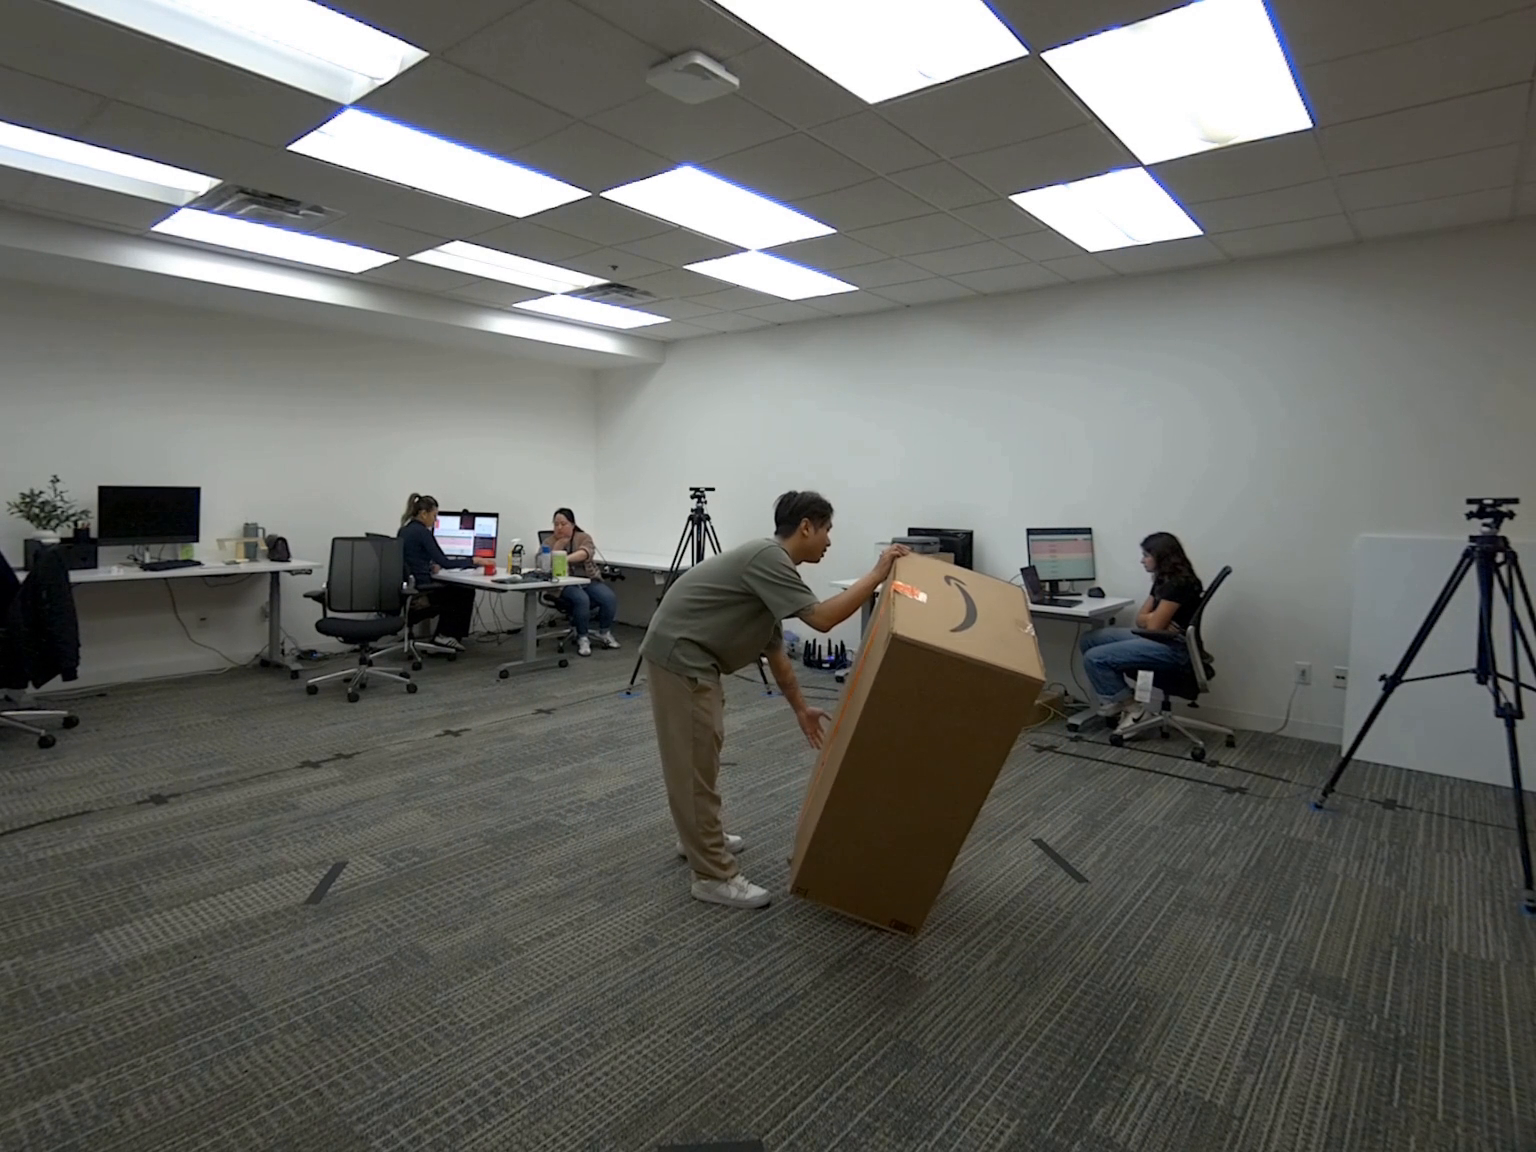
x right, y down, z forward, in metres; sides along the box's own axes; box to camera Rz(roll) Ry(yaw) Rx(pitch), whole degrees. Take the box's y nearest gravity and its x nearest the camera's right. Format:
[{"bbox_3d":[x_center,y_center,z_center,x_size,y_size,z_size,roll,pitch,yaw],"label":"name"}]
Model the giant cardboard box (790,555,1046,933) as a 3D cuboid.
[{"bbox_3d":[0.436,0.522,2.719,0.429,1.010,0.583,17,26,3],"label":"giant cardboard box"}]
